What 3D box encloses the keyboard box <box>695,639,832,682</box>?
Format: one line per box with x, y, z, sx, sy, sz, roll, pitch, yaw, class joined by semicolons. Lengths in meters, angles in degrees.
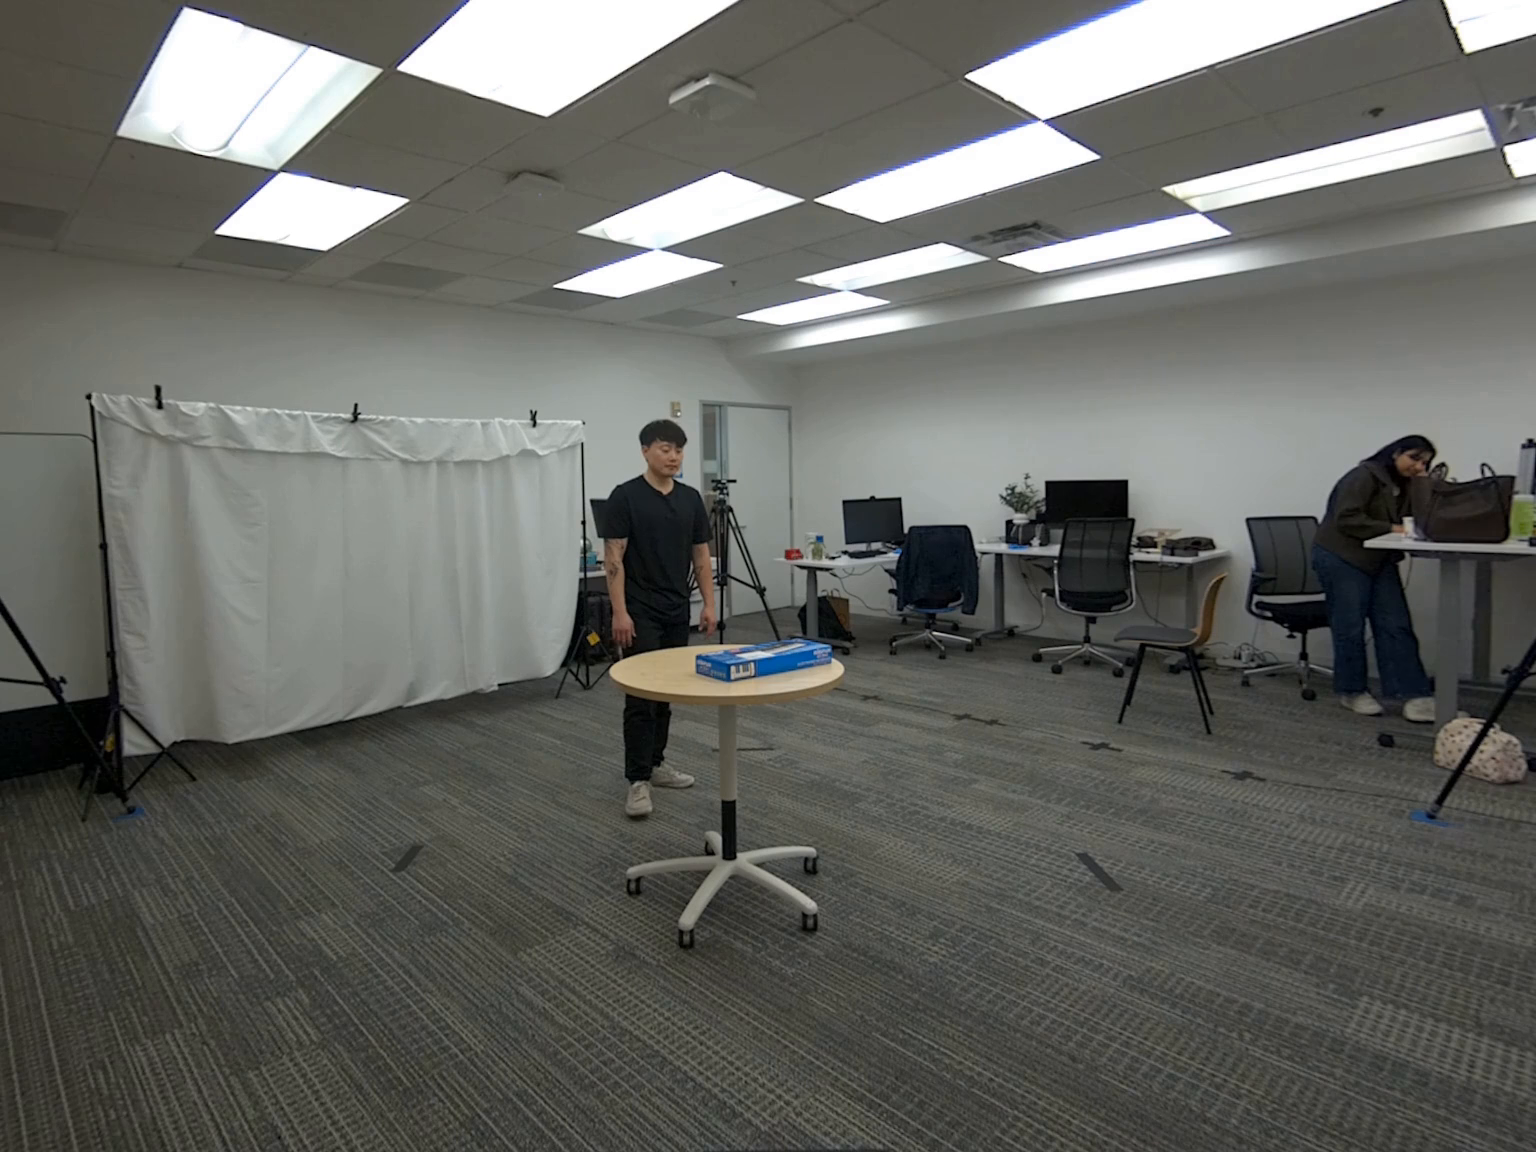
-0.008;0.272;2.779;0.426;0.059;0.181;-6;8;-38;keyboard box
